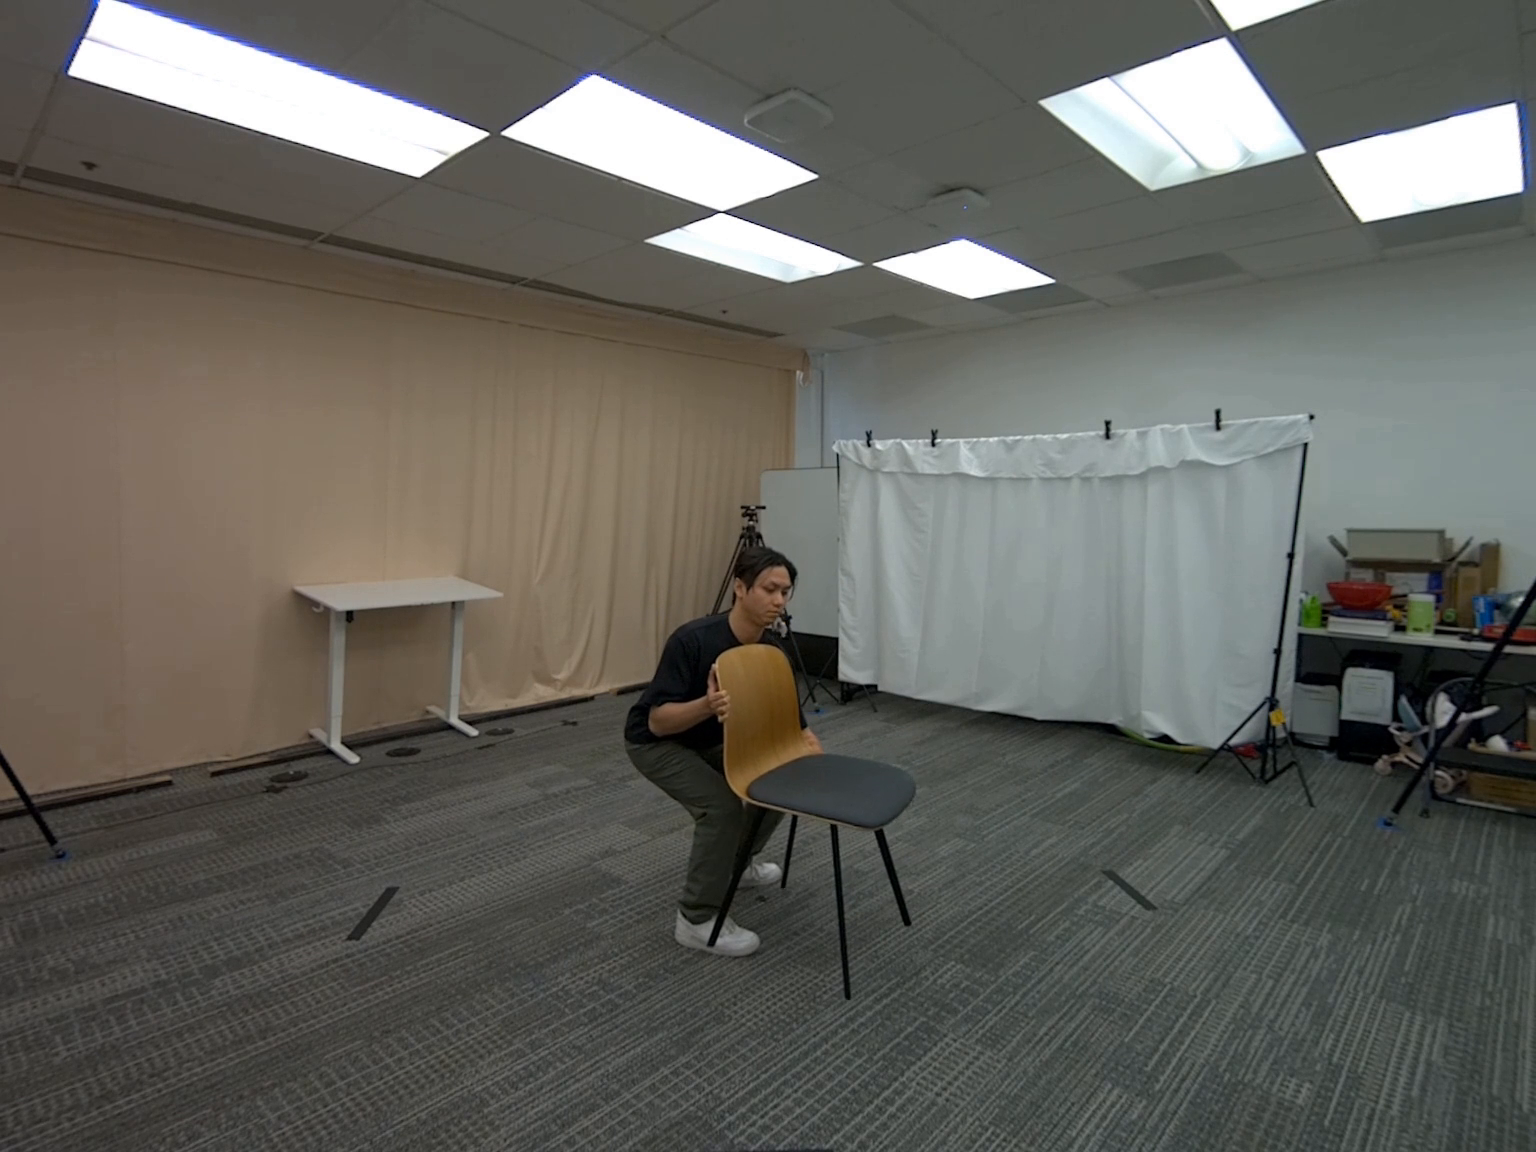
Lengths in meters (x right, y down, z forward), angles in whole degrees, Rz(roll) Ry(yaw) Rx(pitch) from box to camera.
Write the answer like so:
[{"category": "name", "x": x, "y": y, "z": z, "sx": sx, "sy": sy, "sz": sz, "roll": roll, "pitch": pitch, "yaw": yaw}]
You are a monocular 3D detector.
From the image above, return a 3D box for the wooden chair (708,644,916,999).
[{"category": "wooden chair", "x": 0.150, "y": 0.661, "z": 2.485, "sx": 0.538, "sy": 0.876, "sz": 0.465, "roll": -2, "pitch": 3, "yaw": 32}]
